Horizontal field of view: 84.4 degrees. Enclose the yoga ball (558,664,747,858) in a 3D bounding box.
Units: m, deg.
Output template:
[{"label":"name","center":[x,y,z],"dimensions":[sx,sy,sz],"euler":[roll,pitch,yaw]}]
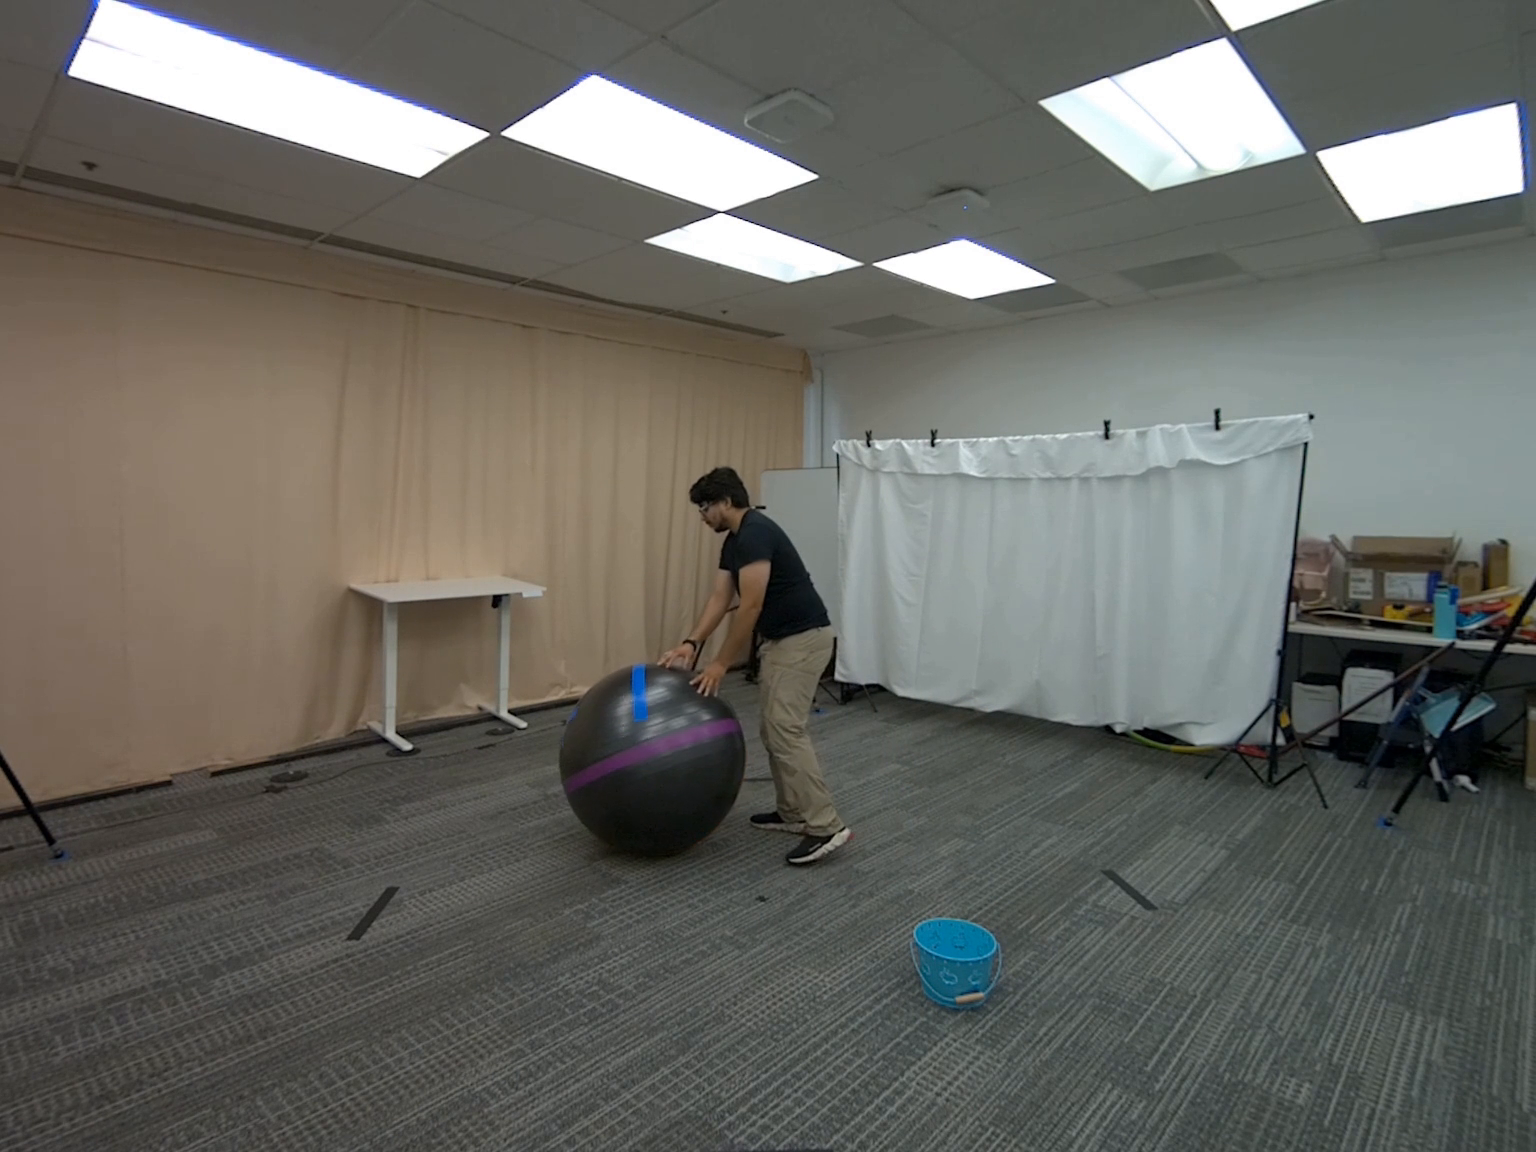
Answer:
[{"label":"yoga ball","center":[-0.485,0.747,3.452],"dimensions":[0.757,0.756,0.760],"euler":[0,4,-2]}]
